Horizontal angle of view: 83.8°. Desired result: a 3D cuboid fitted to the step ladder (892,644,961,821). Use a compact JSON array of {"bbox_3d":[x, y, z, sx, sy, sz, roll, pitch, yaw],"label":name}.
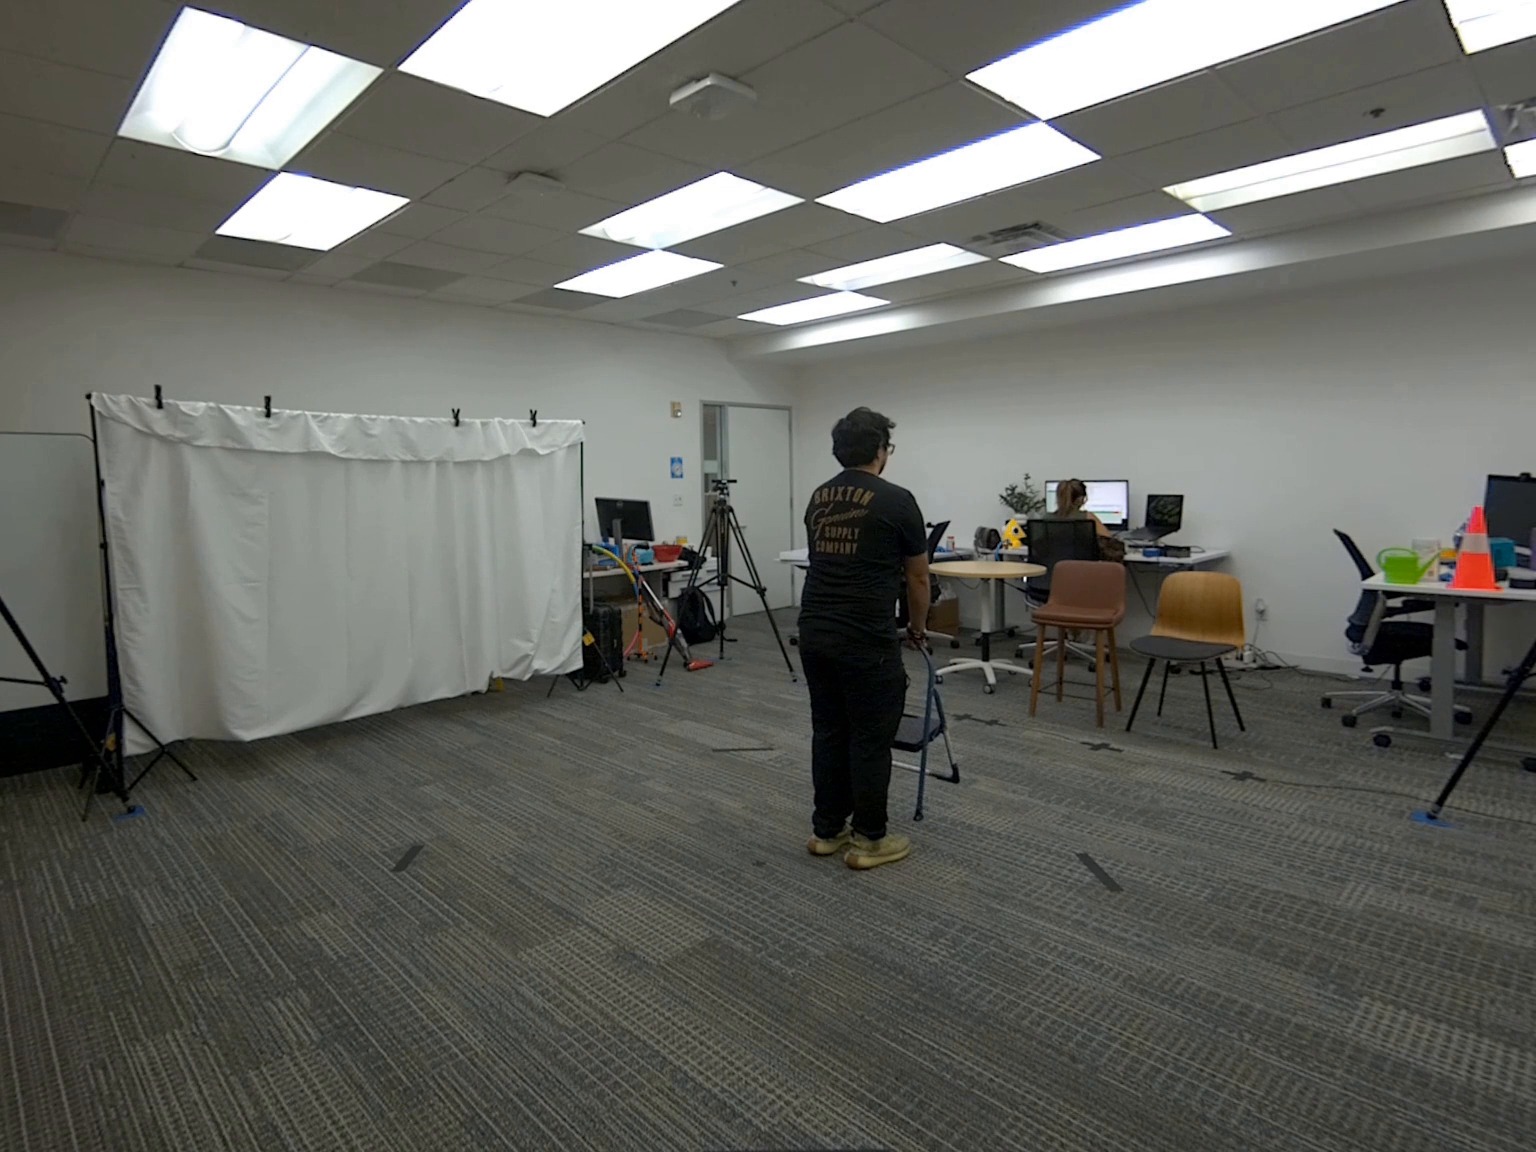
[{"bbox_3d":[0.473,0.547,3.331,0.444,0.600,0.342,3,14,40],"label":"step ladder"}]
